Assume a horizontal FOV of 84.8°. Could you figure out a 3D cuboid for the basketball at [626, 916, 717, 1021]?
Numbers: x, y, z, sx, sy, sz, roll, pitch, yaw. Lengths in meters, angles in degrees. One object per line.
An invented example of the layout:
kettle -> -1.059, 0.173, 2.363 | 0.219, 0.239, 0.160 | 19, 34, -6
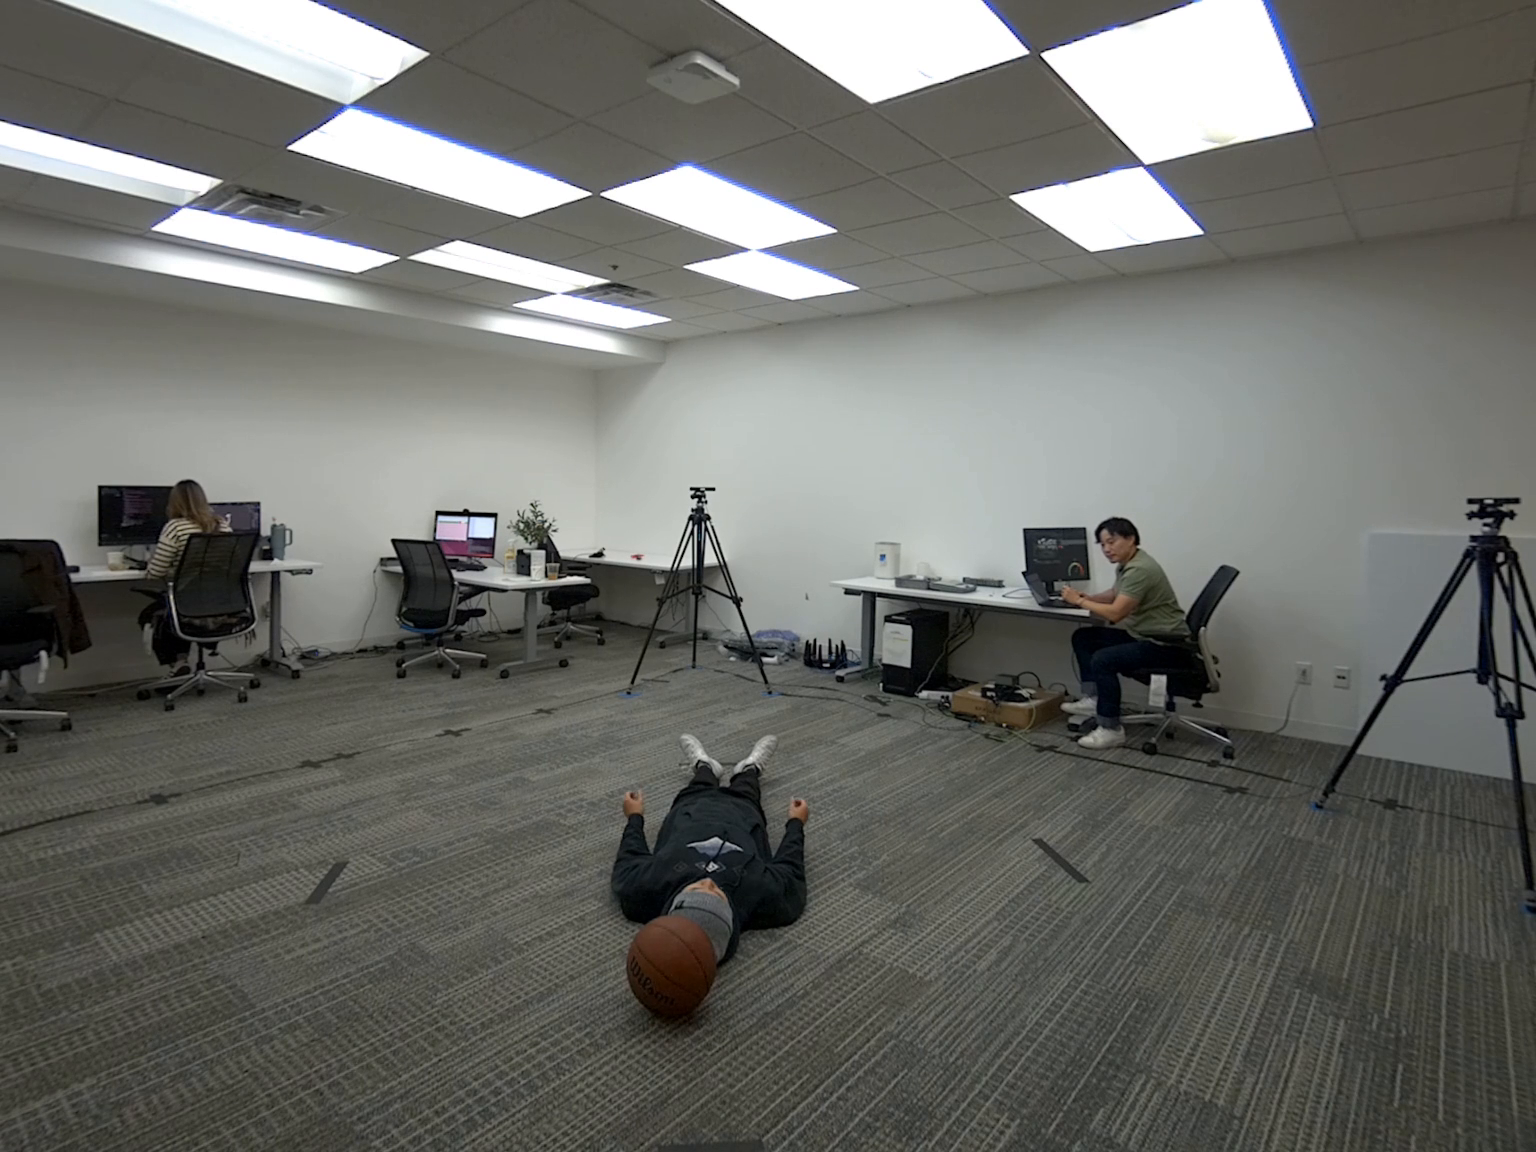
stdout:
basketball -> -0.262, 1.030, 2.262 | 0.235, 0.235, 0.237 | 1, 4, -2
